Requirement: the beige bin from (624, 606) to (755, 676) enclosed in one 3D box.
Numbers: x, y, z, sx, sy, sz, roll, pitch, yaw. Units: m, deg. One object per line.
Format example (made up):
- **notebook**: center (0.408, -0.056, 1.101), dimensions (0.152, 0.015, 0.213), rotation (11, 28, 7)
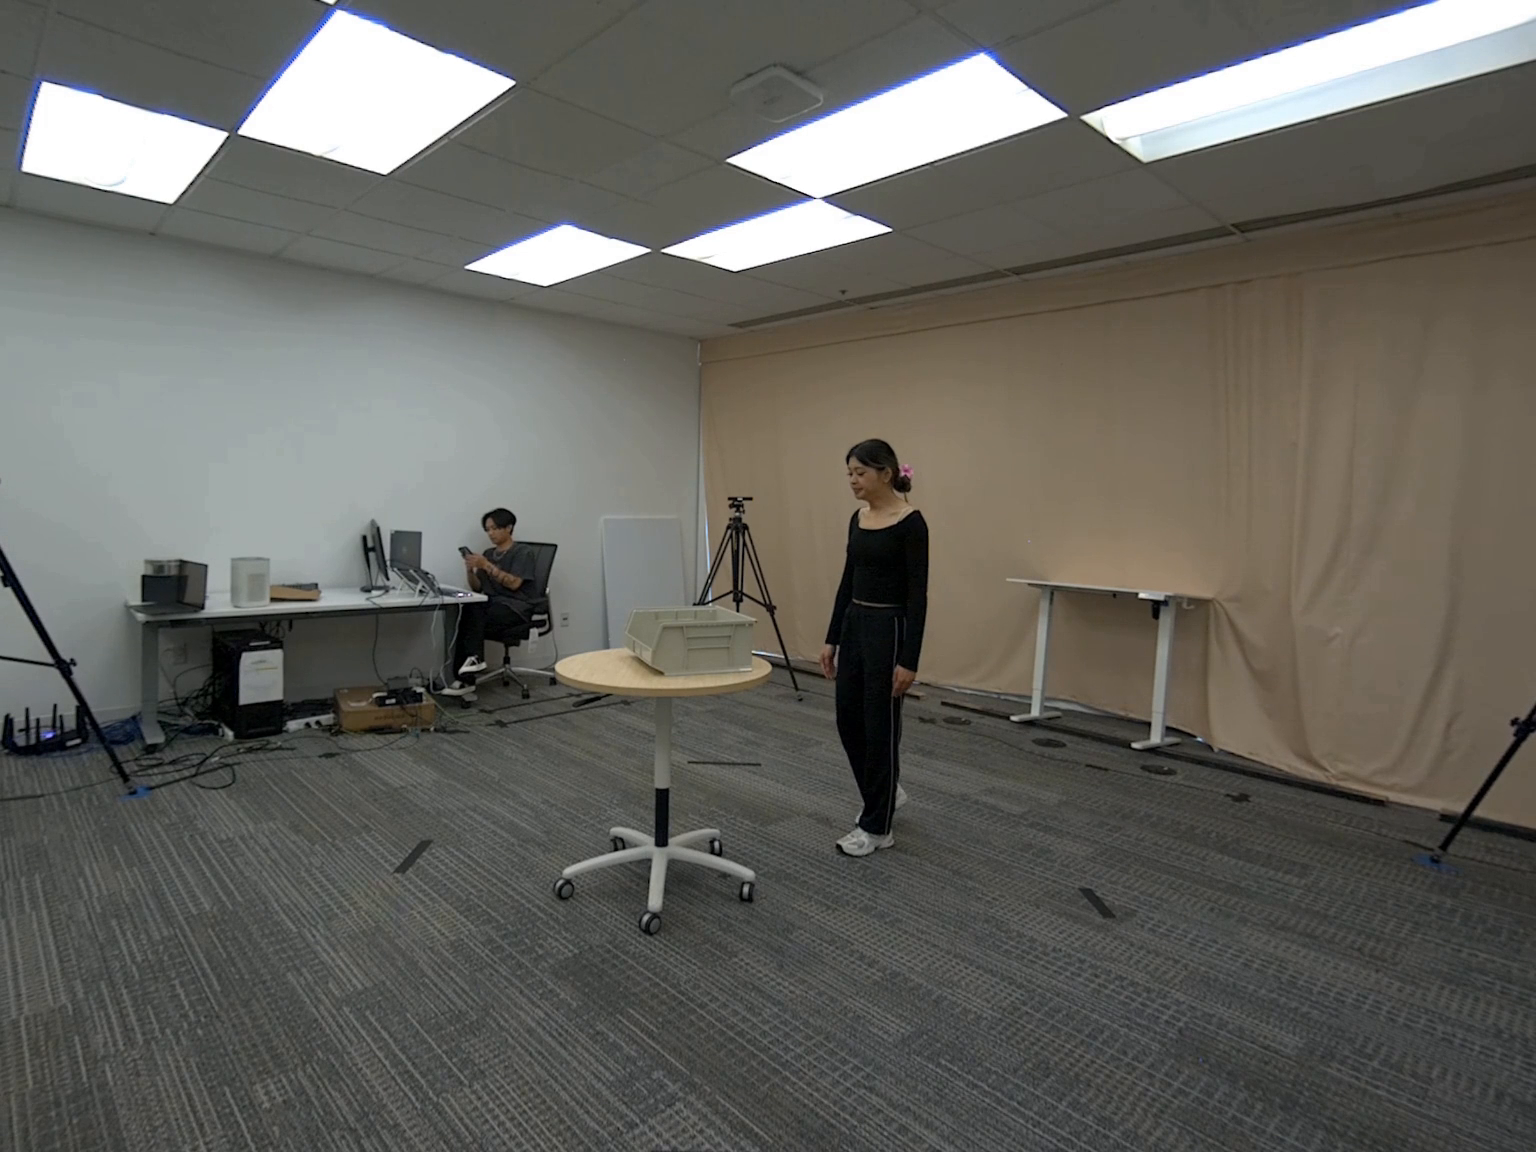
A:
- **beige bin**: center (-0.299, 0.226, 3.031), dimensions (0.371, 0.188, 0.430), rotation (0, 4, -22)
